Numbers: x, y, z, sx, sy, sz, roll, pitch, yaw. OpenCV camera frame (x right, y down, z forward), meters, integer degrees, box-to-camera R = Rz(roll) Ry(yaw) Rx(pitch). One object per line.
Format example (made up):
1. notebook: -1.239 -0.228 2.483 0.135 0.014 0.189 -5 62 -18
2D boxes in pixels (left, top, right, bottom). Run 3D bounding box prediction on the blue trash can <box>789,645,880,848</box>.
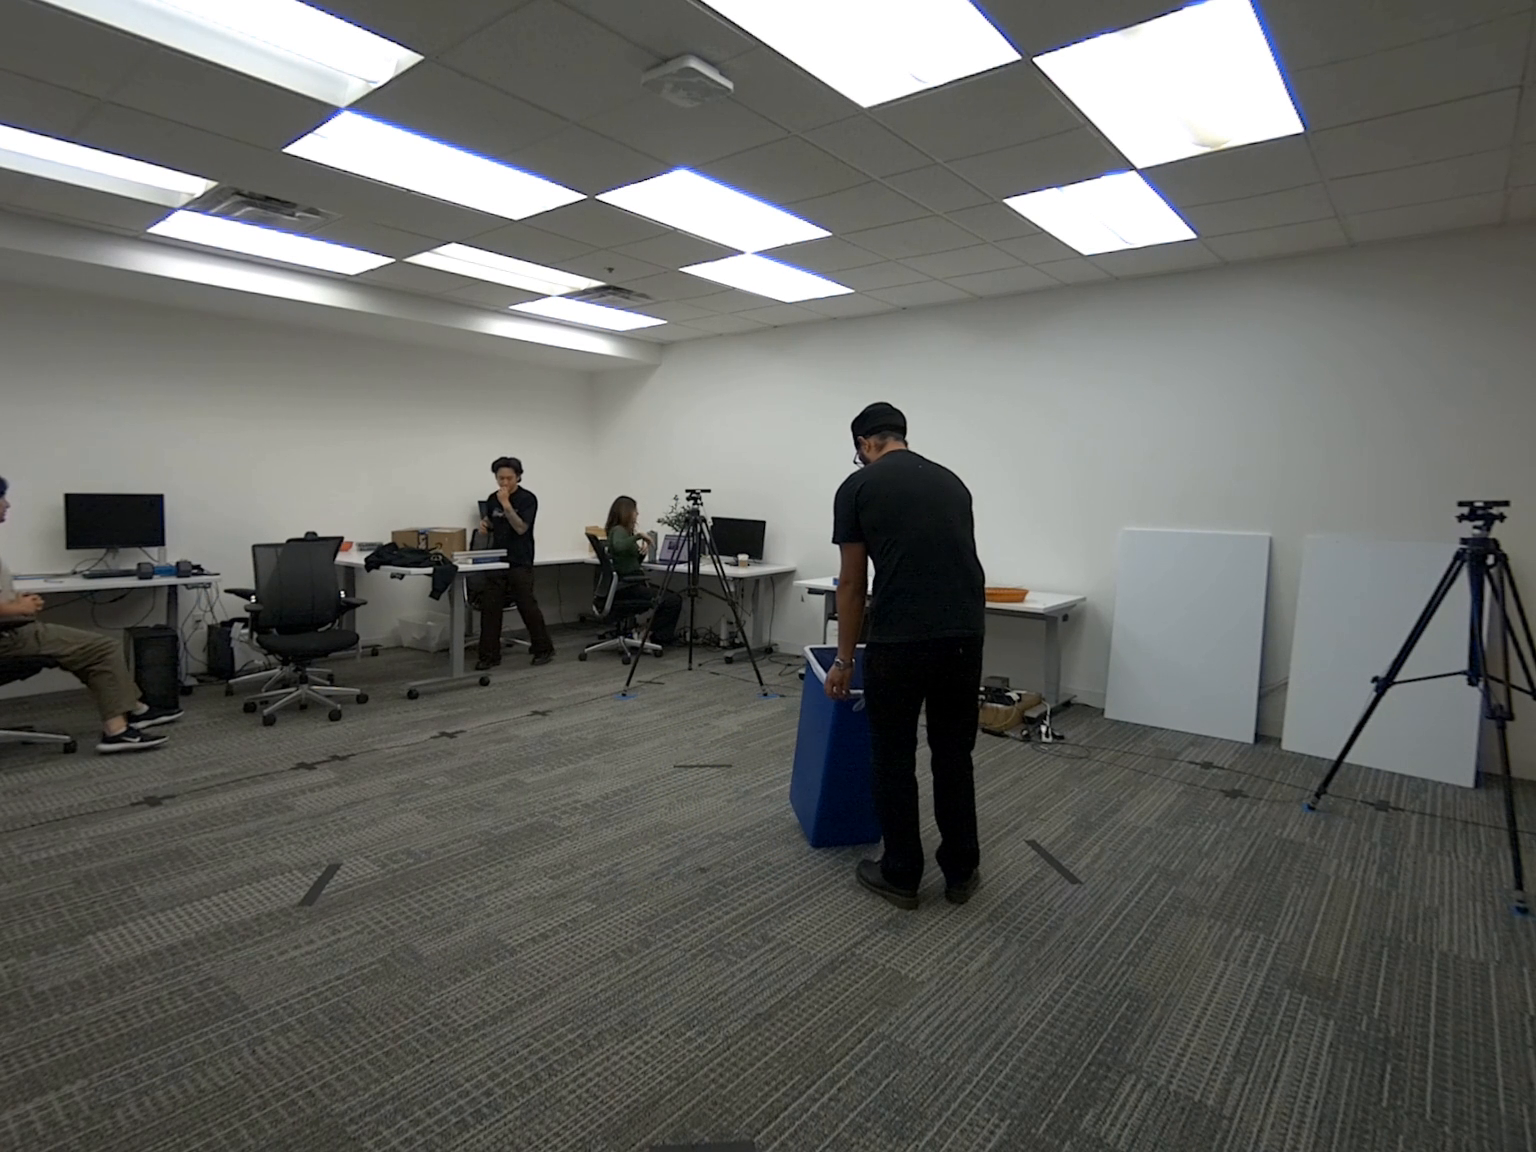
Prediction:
1. blue trash can: 0.316 0.678 3.366 0.372 0.702 0.387 1 21 -17
